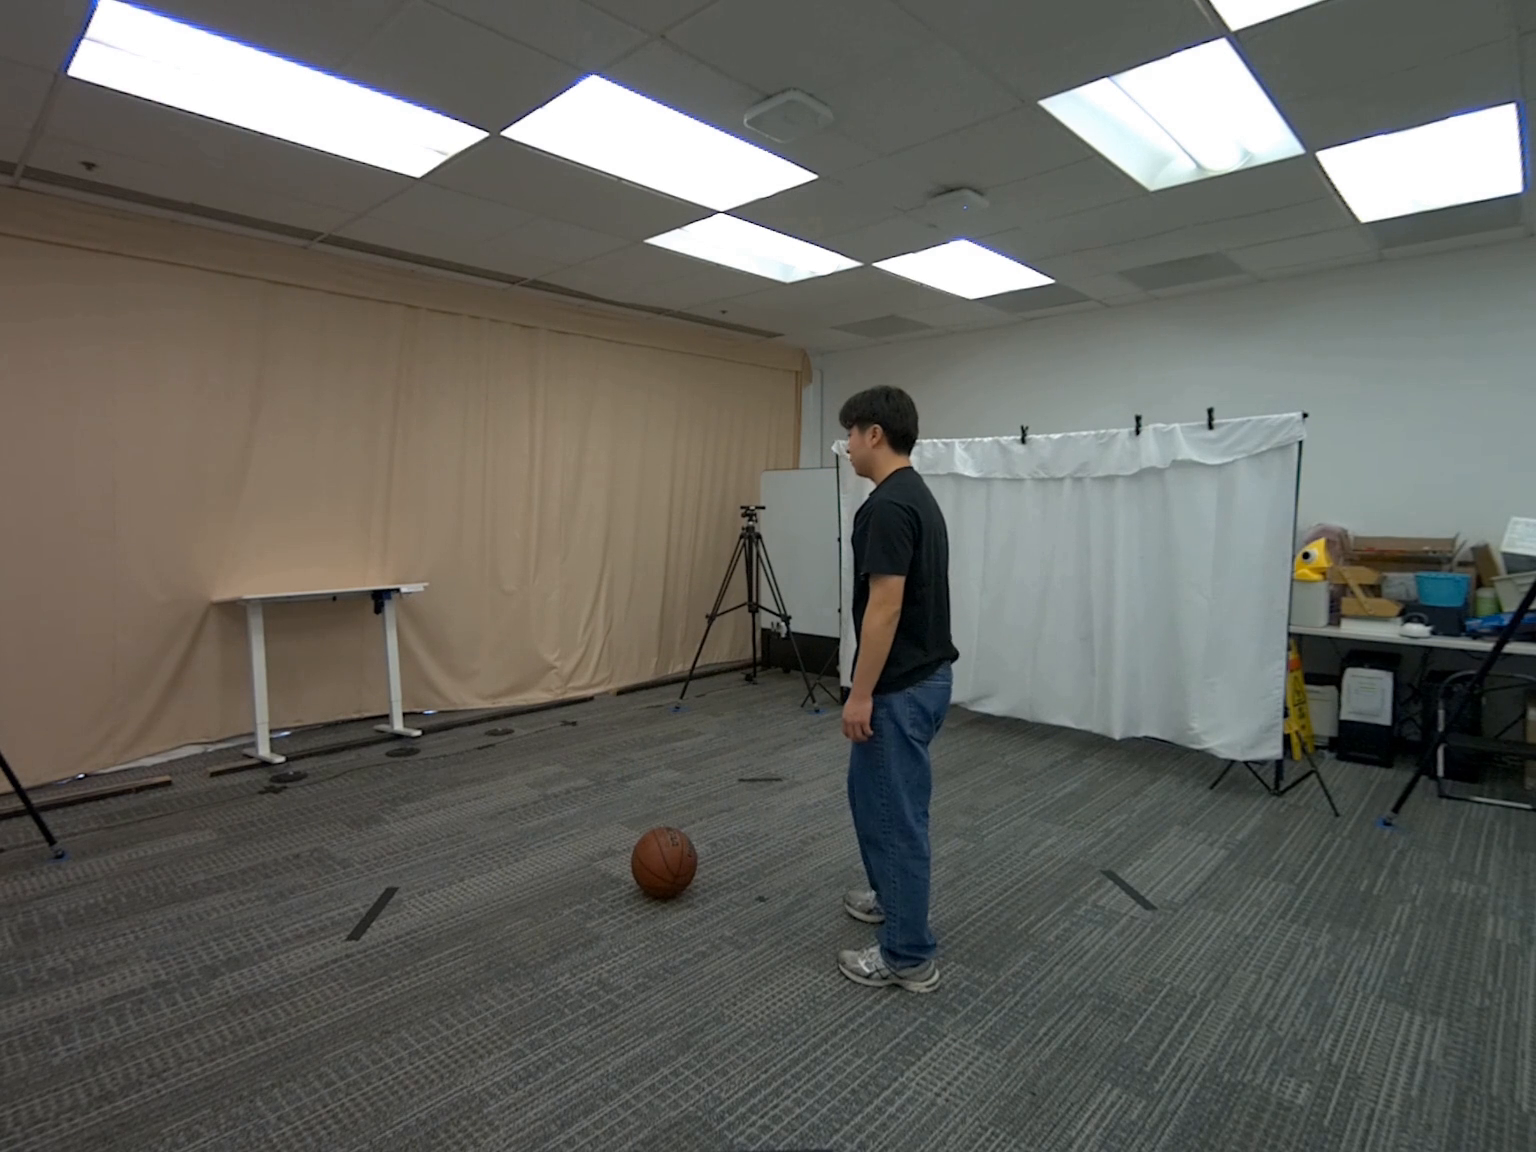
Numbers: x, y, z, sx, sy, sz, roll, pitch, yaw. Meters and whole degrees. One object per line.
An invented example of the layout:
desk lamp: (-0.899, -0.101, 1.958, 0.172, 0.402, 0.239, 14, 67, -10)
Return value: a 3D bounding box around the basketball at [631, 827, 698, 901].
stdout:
basketball: (-0.365, 1.020, 3.017, 0.236, 0.235, 0.237, 0, 4, -2)
